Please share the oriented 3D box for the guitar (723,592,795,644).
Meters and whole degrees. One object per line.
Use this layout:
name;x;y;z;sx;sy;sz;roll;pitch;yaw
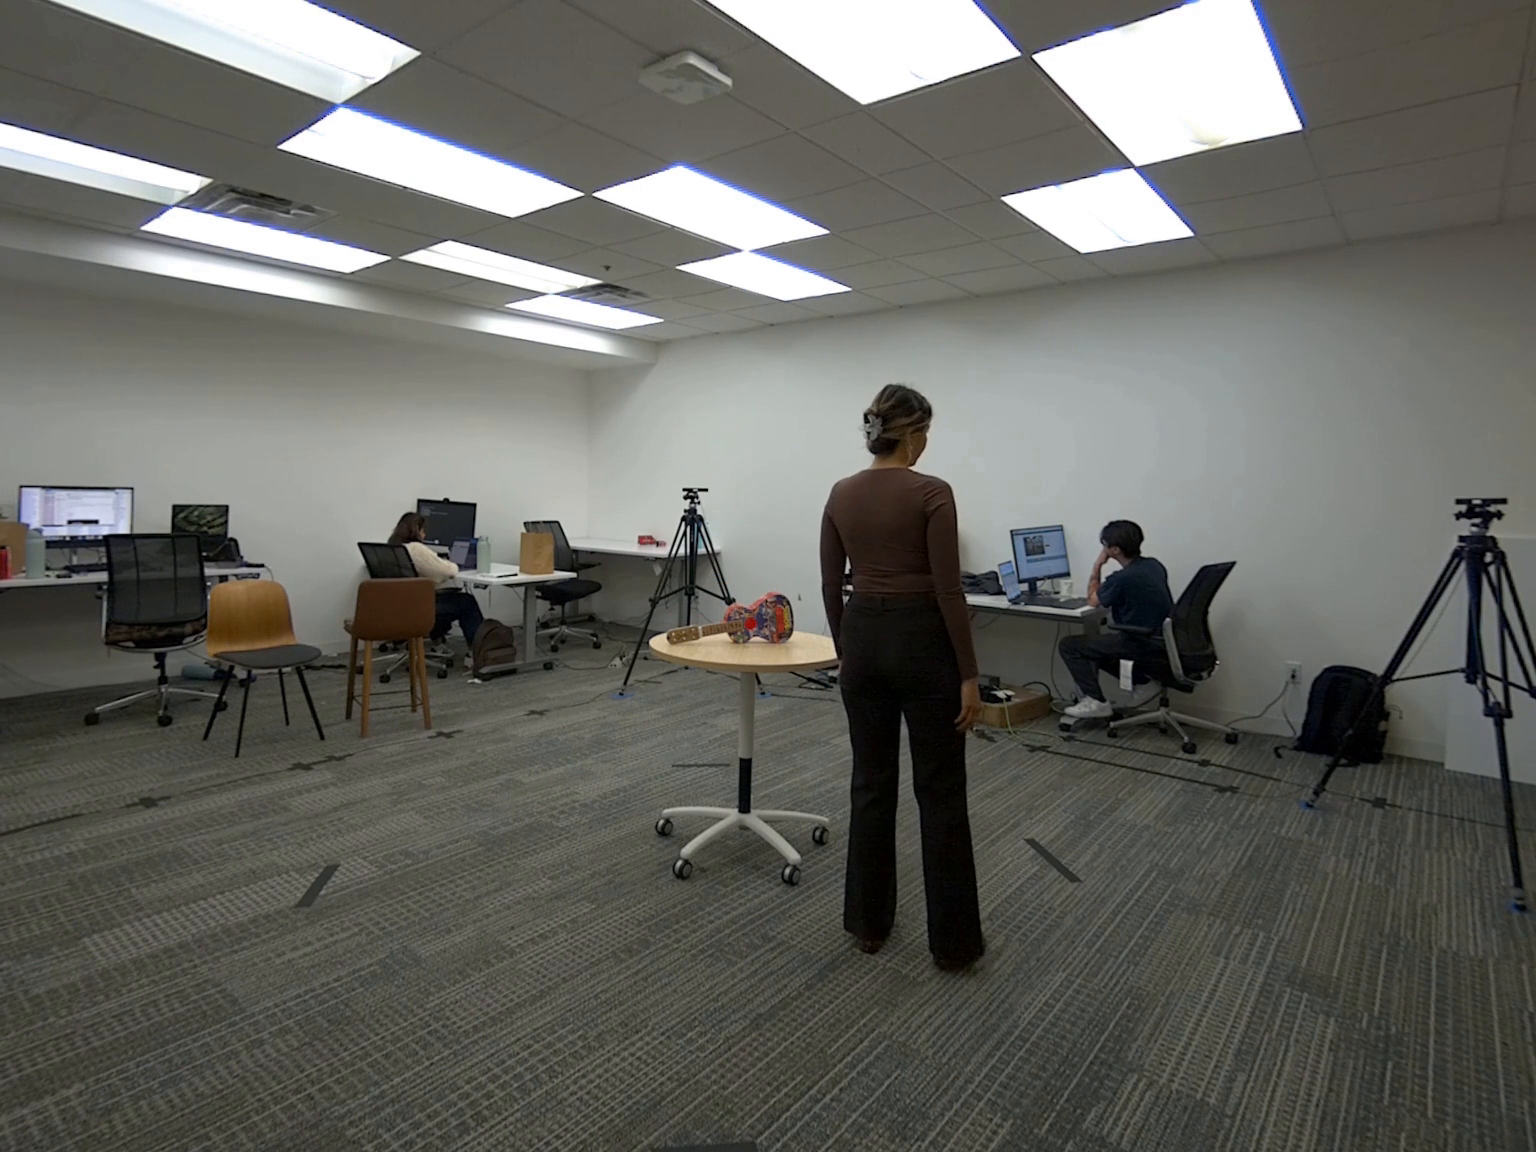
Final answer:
guitar;-0.156;0.166;3.288;0.492;0.191;0.072;0;8;-11
